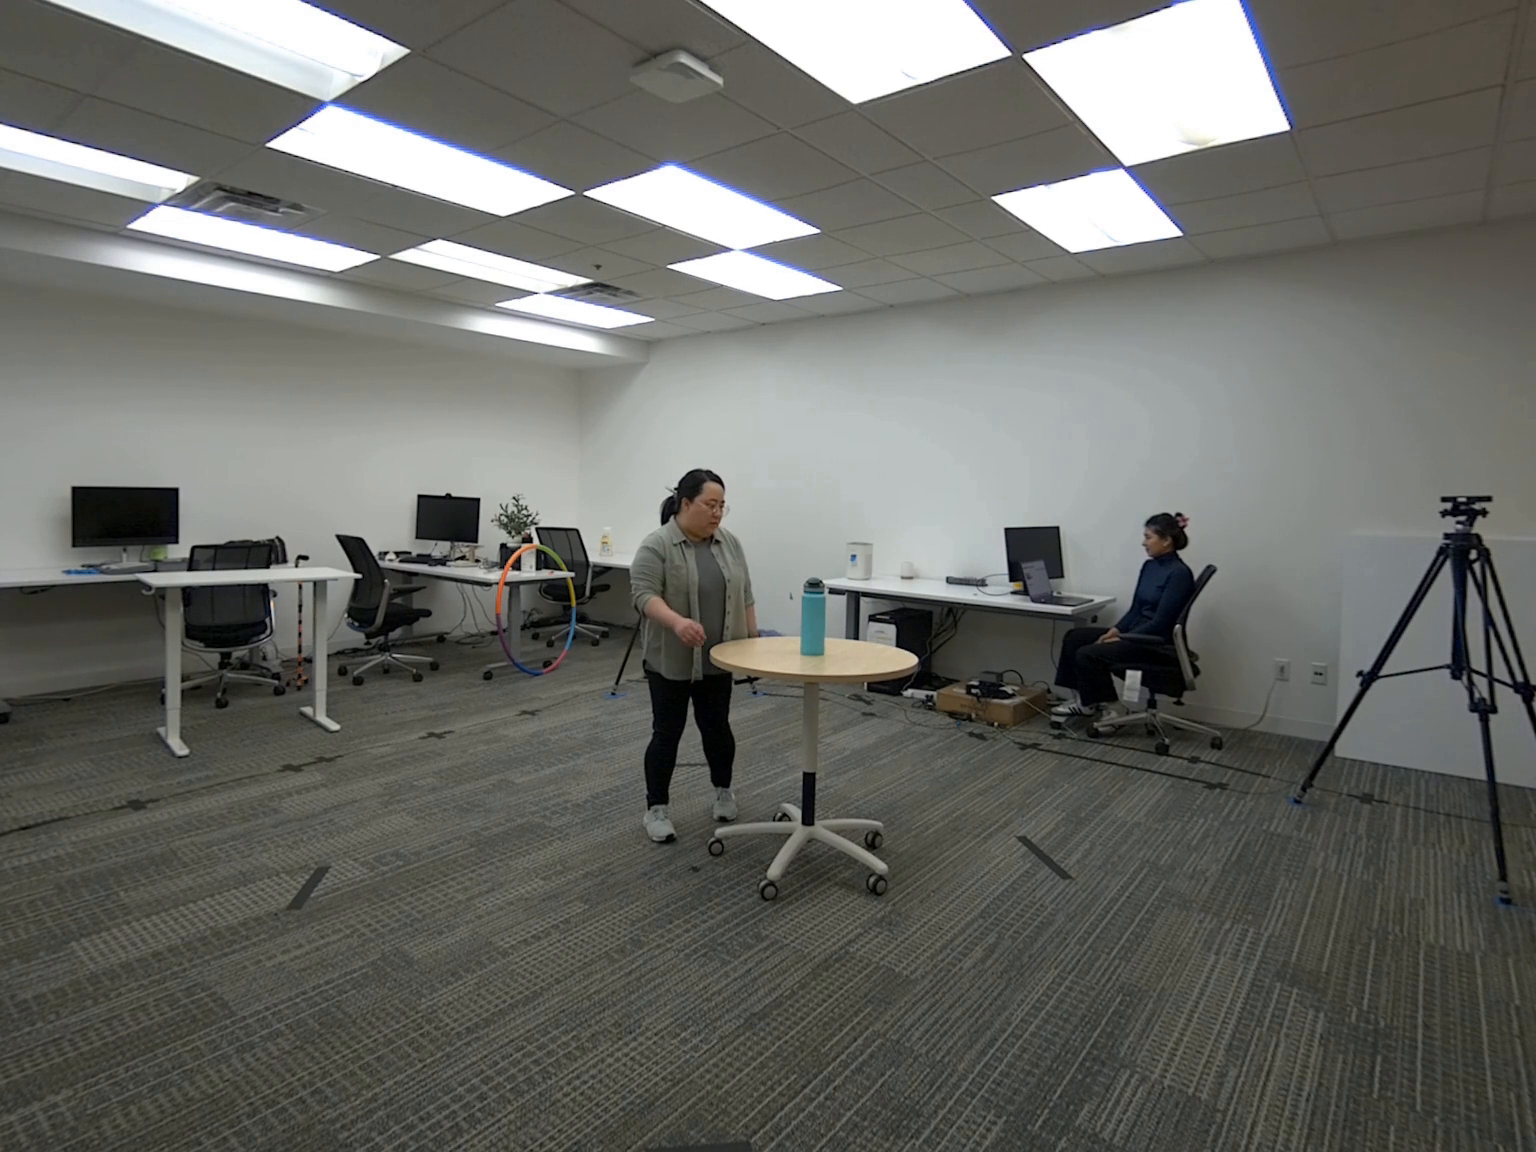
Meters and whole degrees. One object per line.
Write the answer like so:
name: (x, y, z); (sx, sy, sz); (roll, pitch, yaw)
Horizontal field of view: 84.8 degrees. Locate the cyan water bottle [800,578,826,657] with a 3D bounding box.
cyan water bottle: (0.159, 0.146, 3.152); (0.092, 0.283, 0.092); (-1, 1, -2)
